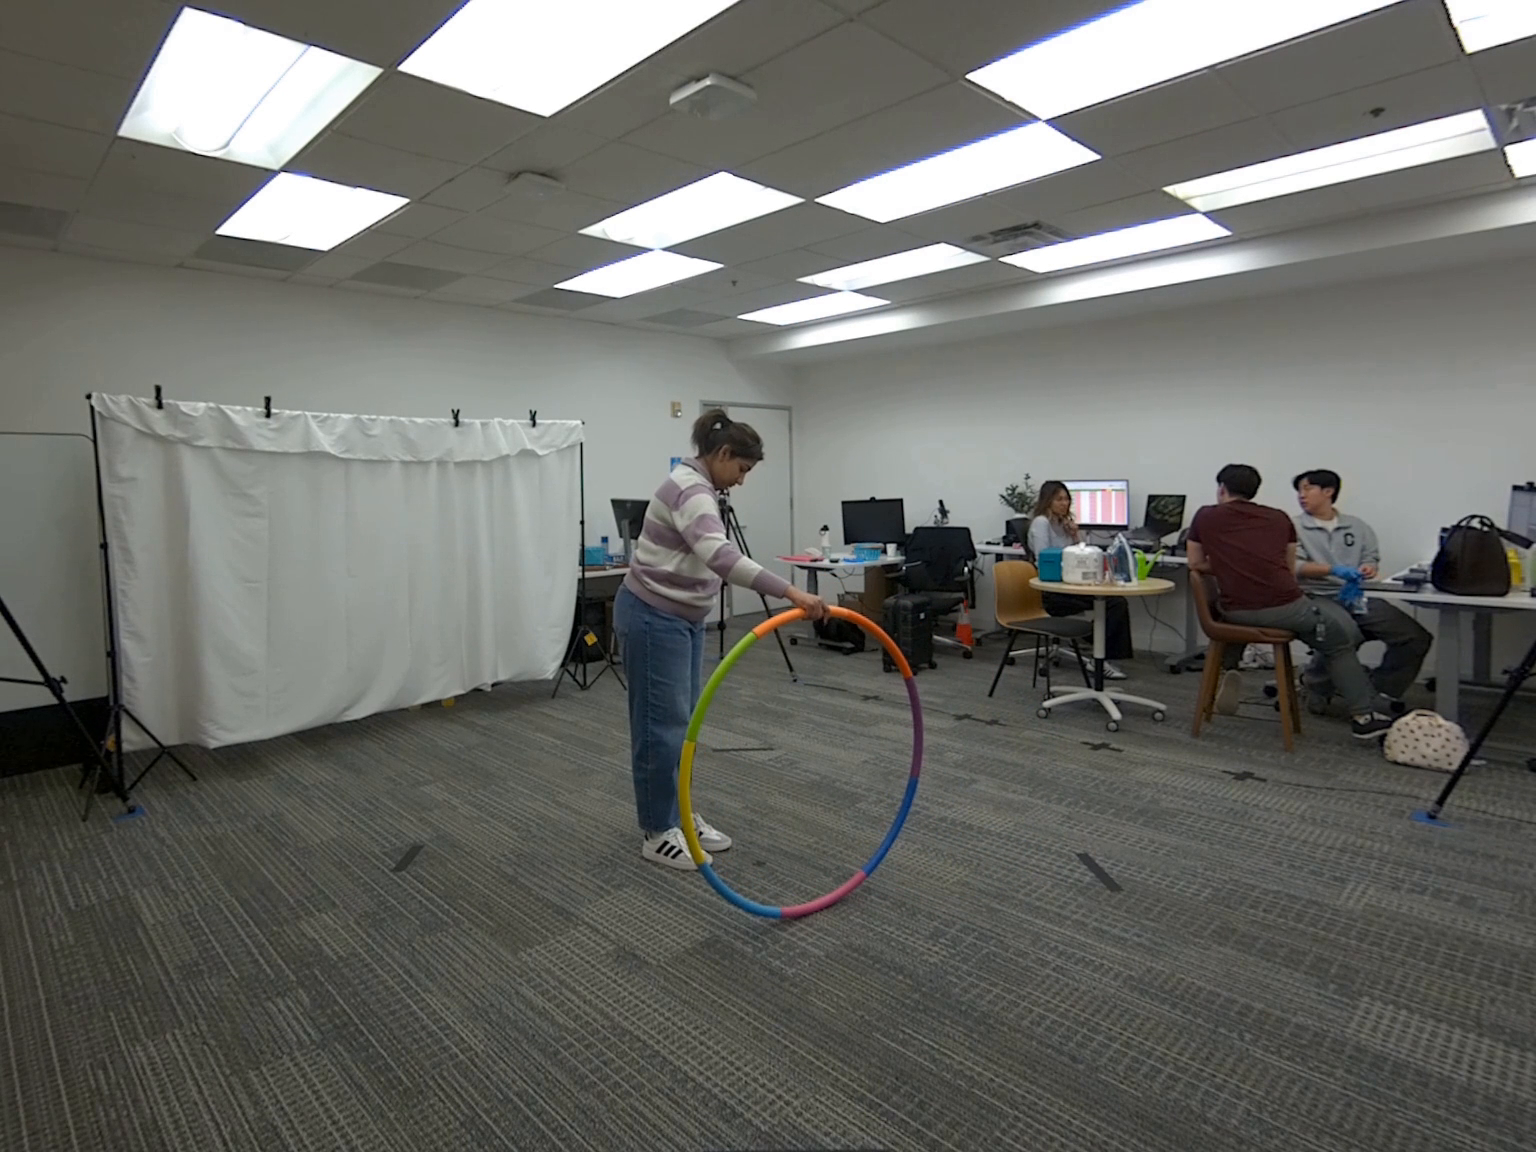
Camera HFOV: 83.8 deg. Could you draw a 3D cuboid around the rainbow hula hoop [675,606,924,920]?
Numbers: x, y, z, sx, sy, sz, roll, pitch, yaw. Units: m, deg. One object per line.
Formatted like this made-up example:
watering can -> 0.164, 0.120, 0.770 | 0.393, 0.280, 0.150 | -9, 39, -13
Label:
rainbow hula hoop -> 0.139, 0.590, 2.738 | 0.954, 0.977, 0.036 | -4, 2, -33
